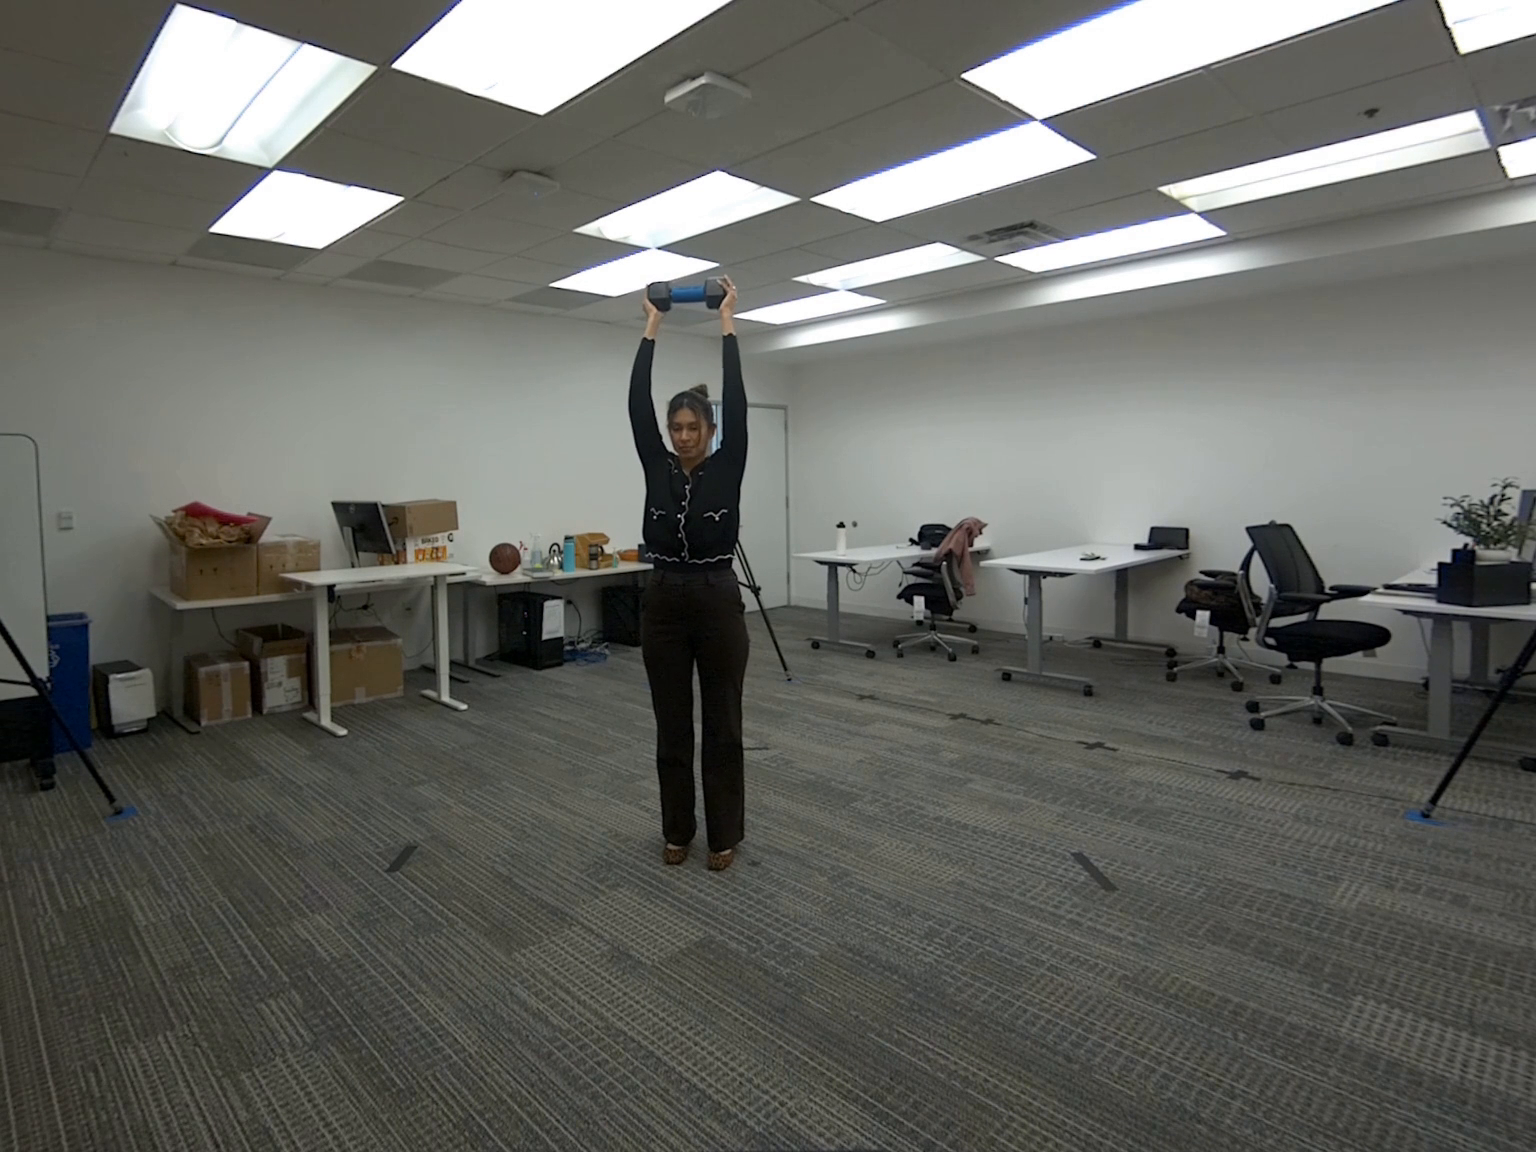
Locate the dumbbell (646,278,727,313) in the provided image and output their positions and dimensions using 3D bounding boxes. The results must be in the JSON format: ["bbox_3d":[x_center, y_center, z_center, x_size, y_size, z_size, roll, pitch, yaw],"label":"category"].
[{"bbox_3d":[-0.294,-1.025,3.132,0.295,0.106,0.125,-1,23,6],"label":"dumbbell"}]
